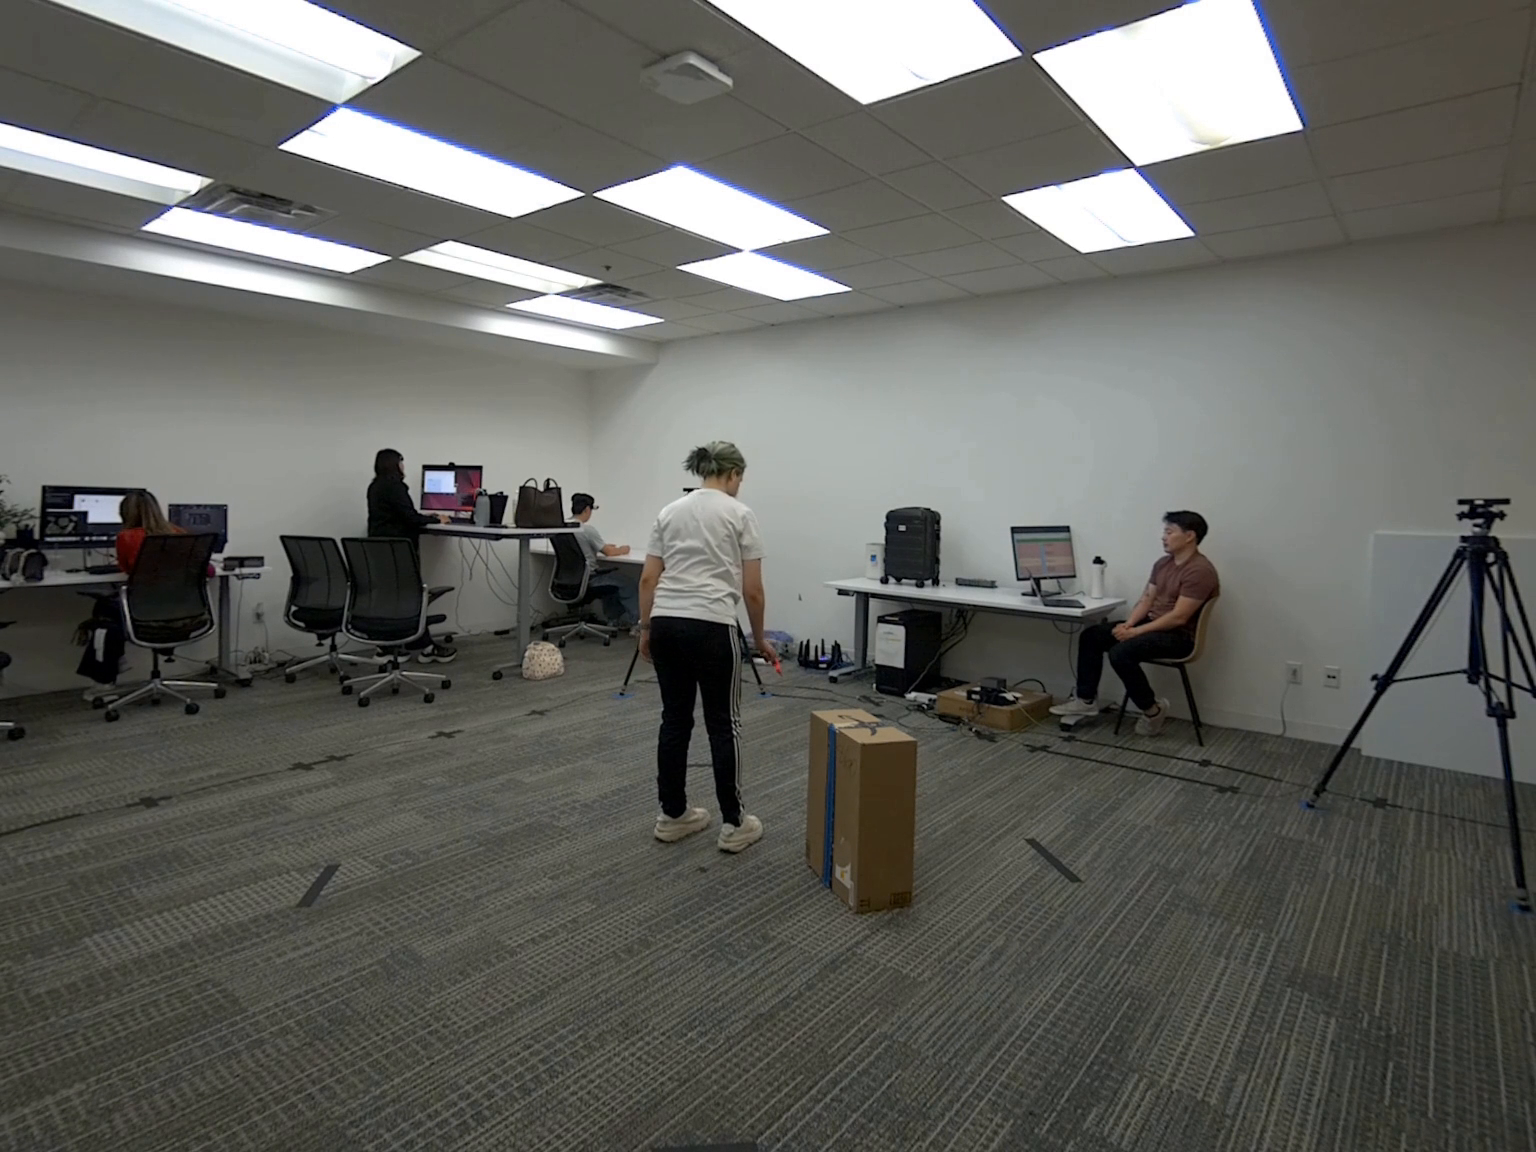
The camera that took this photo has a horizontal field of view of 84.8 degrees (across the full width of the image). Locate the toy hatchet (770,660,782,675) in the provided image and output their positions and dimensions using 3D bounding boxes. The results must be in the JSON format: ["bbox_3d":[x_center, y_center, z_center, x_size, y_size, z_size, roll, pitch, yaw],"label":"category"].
[{"bbox_3d":[0.008,0.373,3.544,0.029,0.132,0.268,-28,-2,4],"label":"toy hatchet"}]
